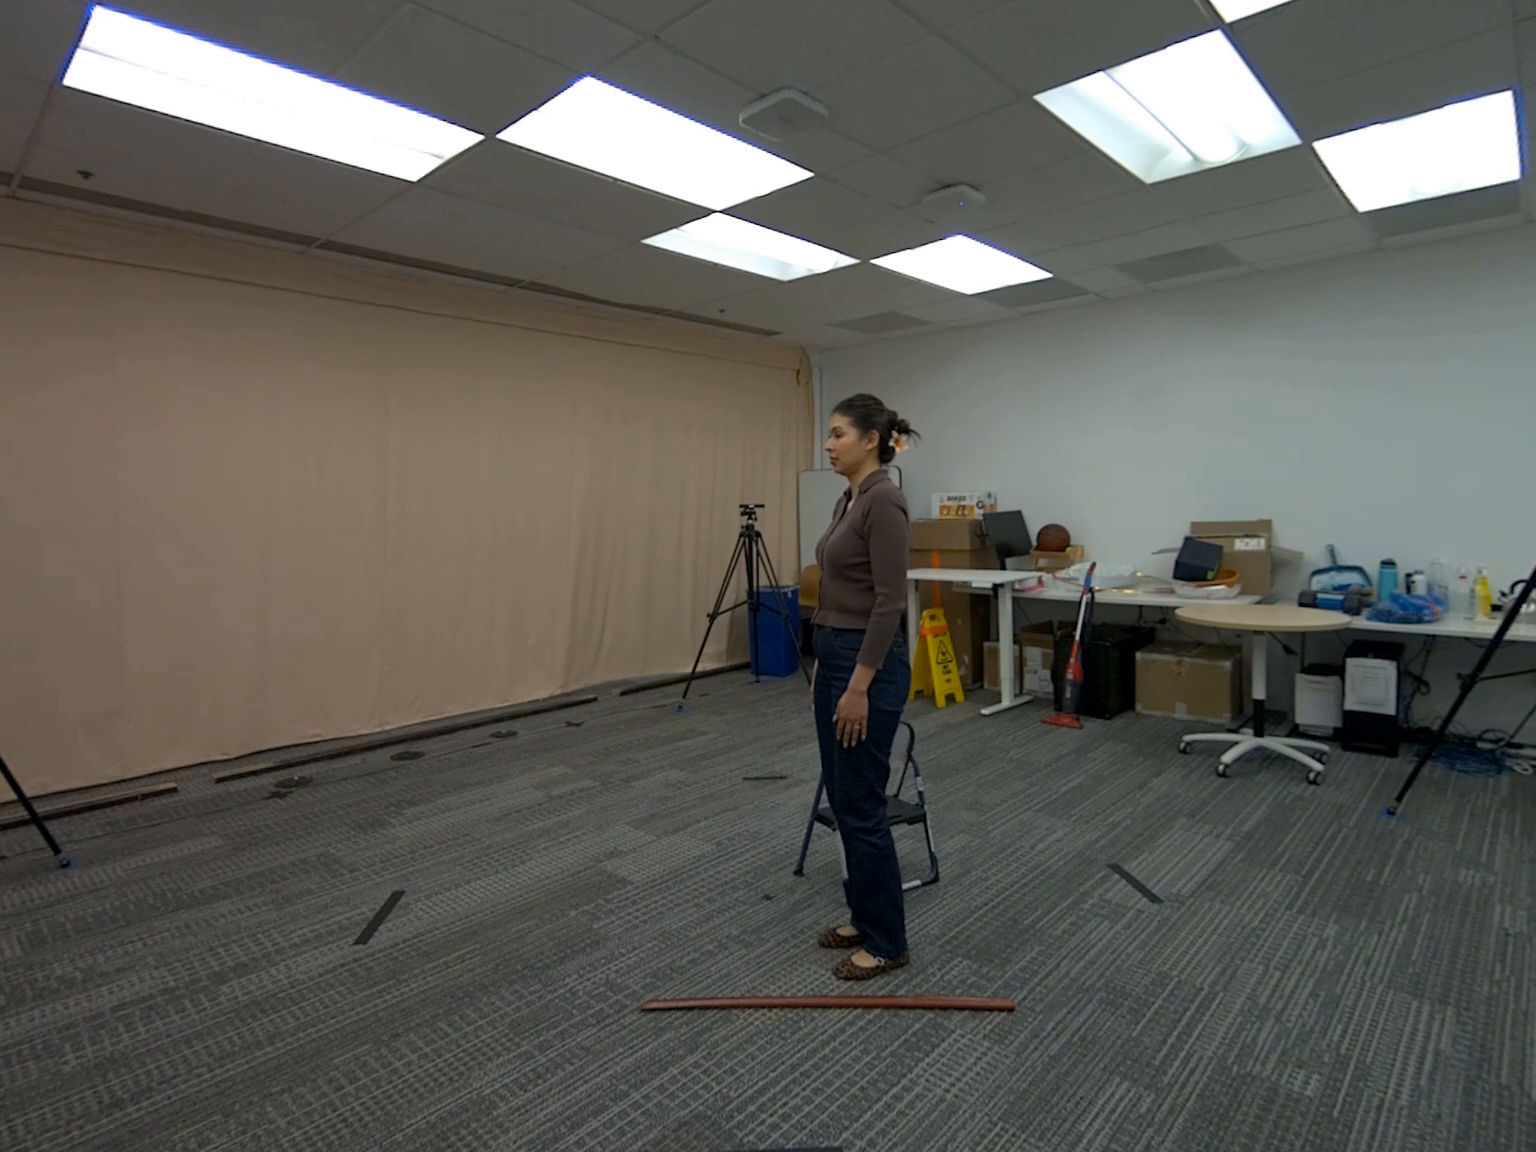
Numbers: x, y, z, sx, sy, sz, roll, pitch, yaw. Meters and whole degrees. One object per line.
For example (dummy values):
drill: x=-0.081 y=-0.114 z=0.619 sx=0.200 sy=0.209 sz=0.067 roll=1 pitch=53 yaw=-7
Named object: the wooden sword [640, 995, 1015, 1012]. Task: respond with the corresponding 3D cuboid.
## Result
wooden sword: x=0.164 y=1.161 z=2.344 sx=1.027 sy=0.023 sz=0.052 roll=0 pitch=37 yaw=2
